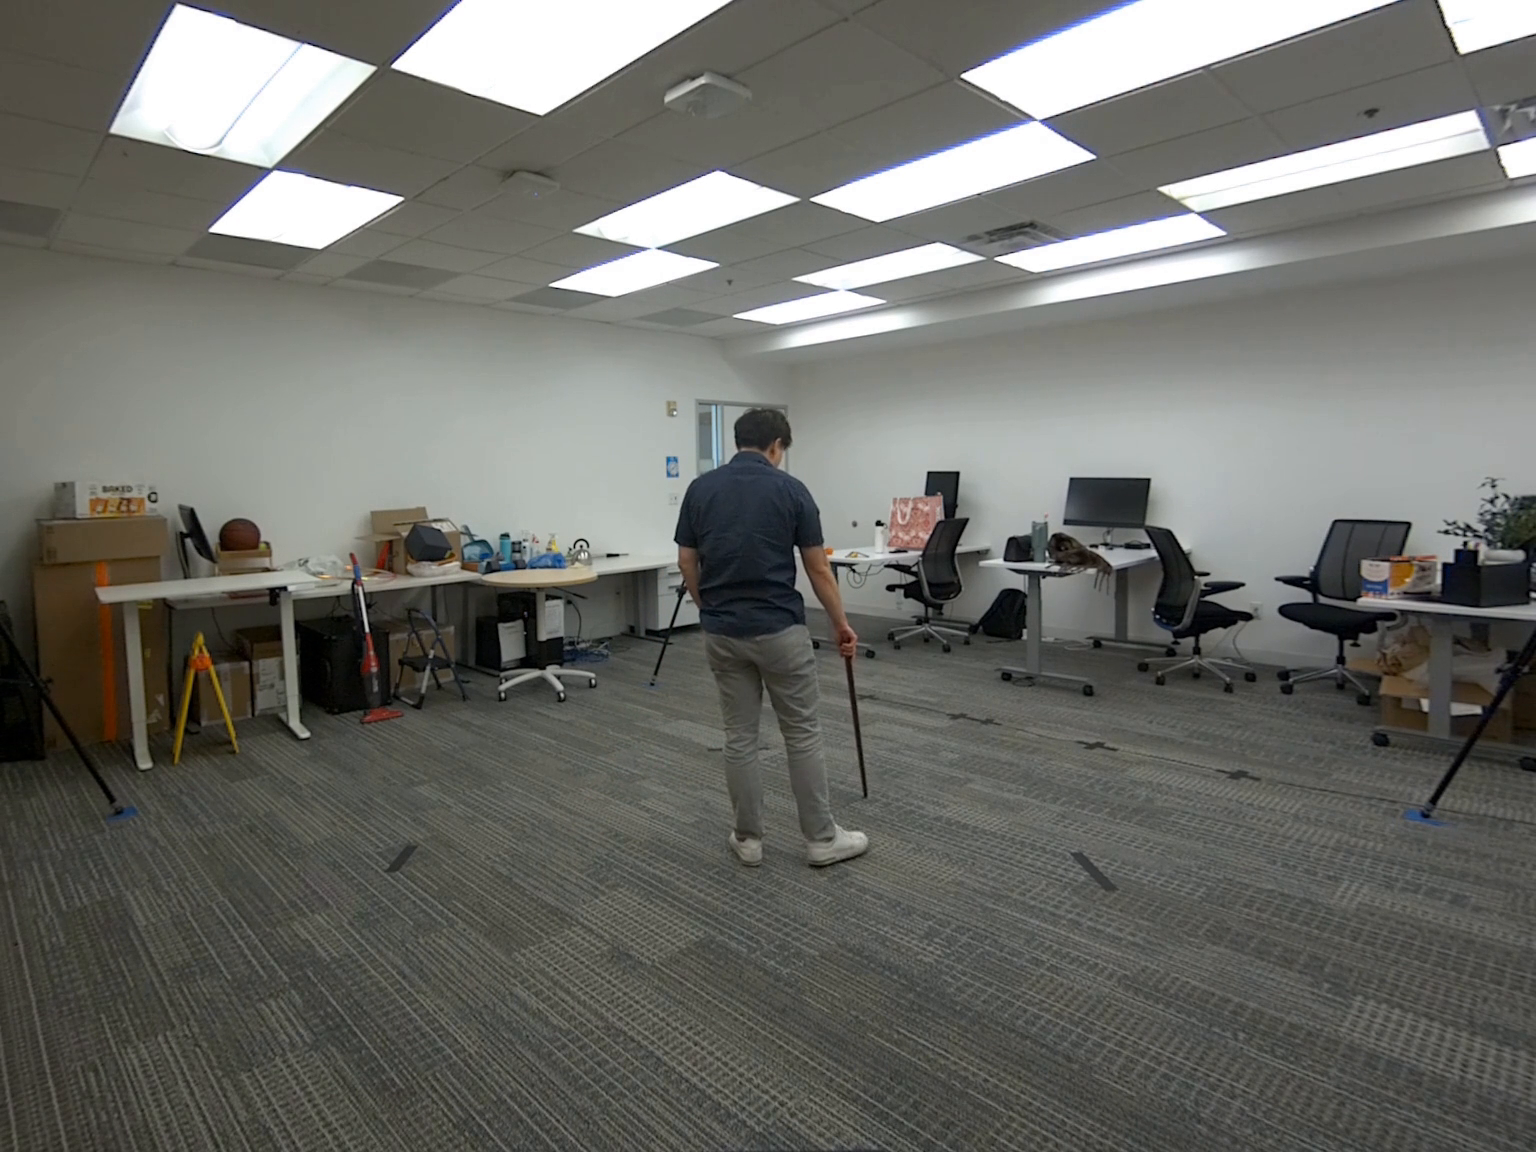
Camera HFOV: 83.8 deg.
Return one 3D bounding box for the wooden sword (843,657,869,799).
[{"bbox_3d":[0.354,0.597,3.417,0.053,0.992,0.024,22,50,32],"label":"wooden sword"}]
